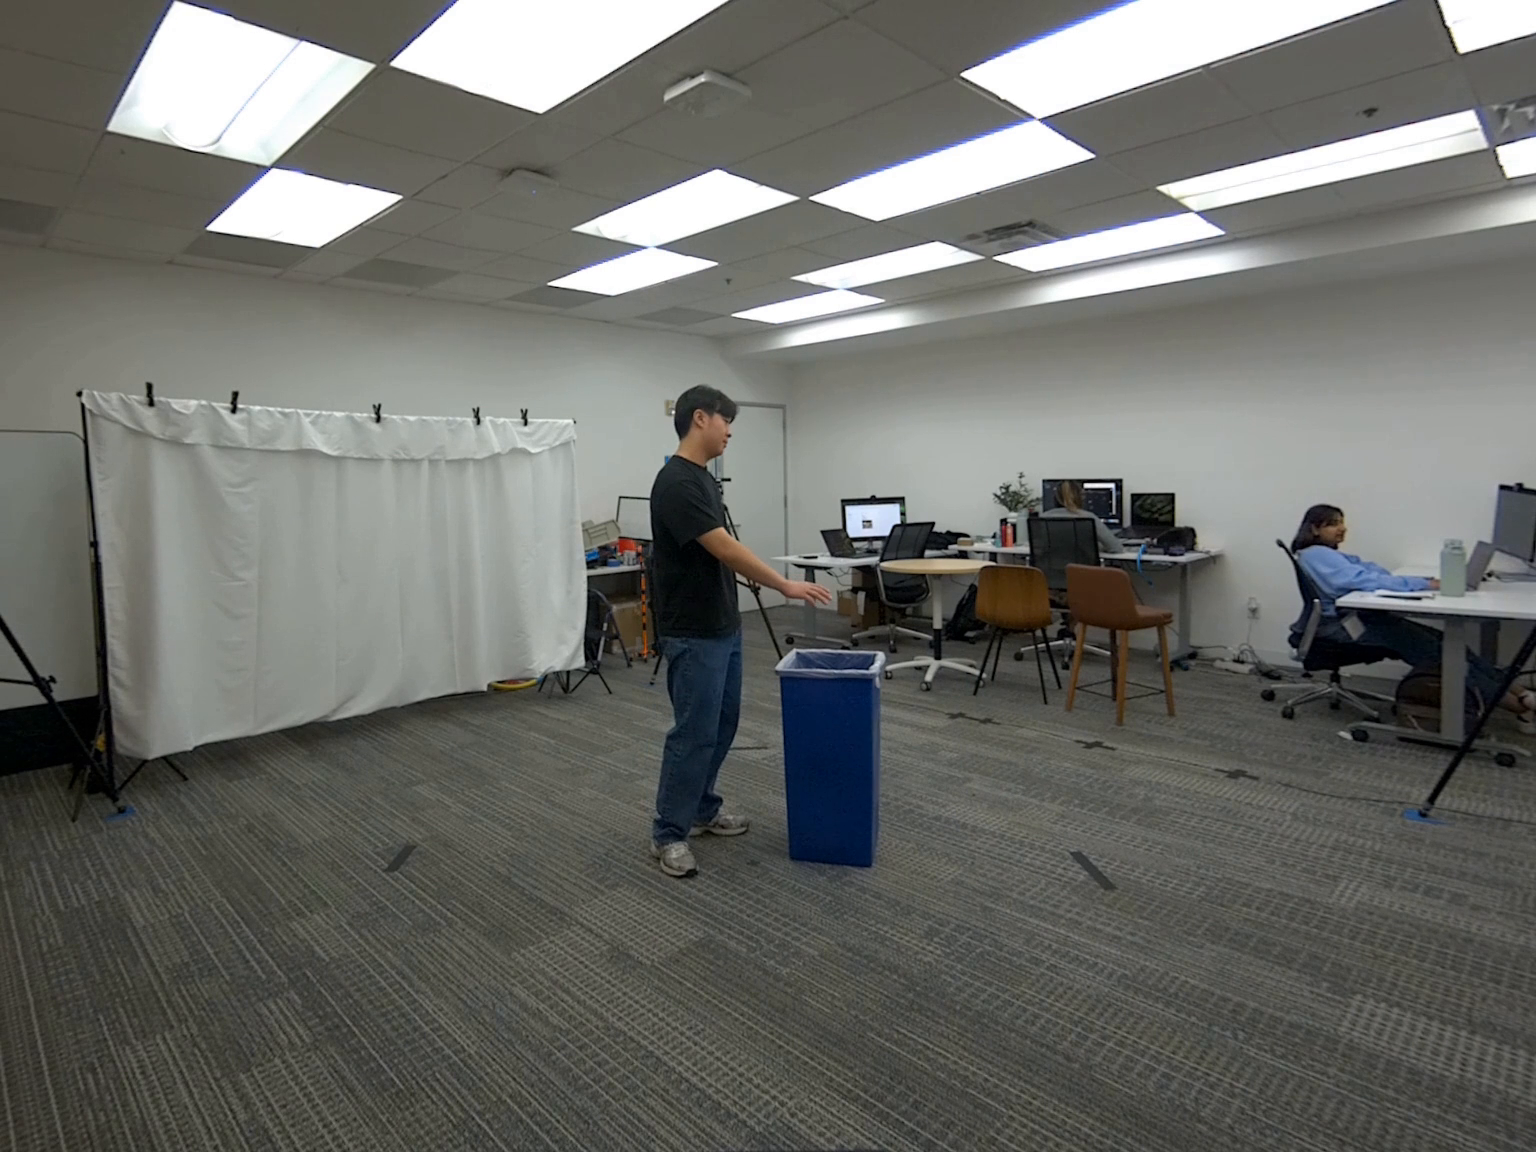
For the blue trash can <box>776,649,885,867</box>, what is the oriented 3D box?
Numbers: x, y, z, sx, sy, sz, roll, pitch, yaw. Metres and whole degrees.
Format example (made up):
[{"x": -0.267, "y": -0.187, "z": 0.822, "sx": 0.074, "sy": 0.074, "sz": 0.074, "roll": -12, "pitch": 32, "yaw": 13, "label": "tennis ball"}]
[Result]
[{"x": 0.250, "y": 0.663, "z": 3.209, "sx": 0.379, "sy": 0.711, "sz": 0.374, "roll": -1, "pitch": 4, "yaw": 13, "label": "blue trash can"}]
